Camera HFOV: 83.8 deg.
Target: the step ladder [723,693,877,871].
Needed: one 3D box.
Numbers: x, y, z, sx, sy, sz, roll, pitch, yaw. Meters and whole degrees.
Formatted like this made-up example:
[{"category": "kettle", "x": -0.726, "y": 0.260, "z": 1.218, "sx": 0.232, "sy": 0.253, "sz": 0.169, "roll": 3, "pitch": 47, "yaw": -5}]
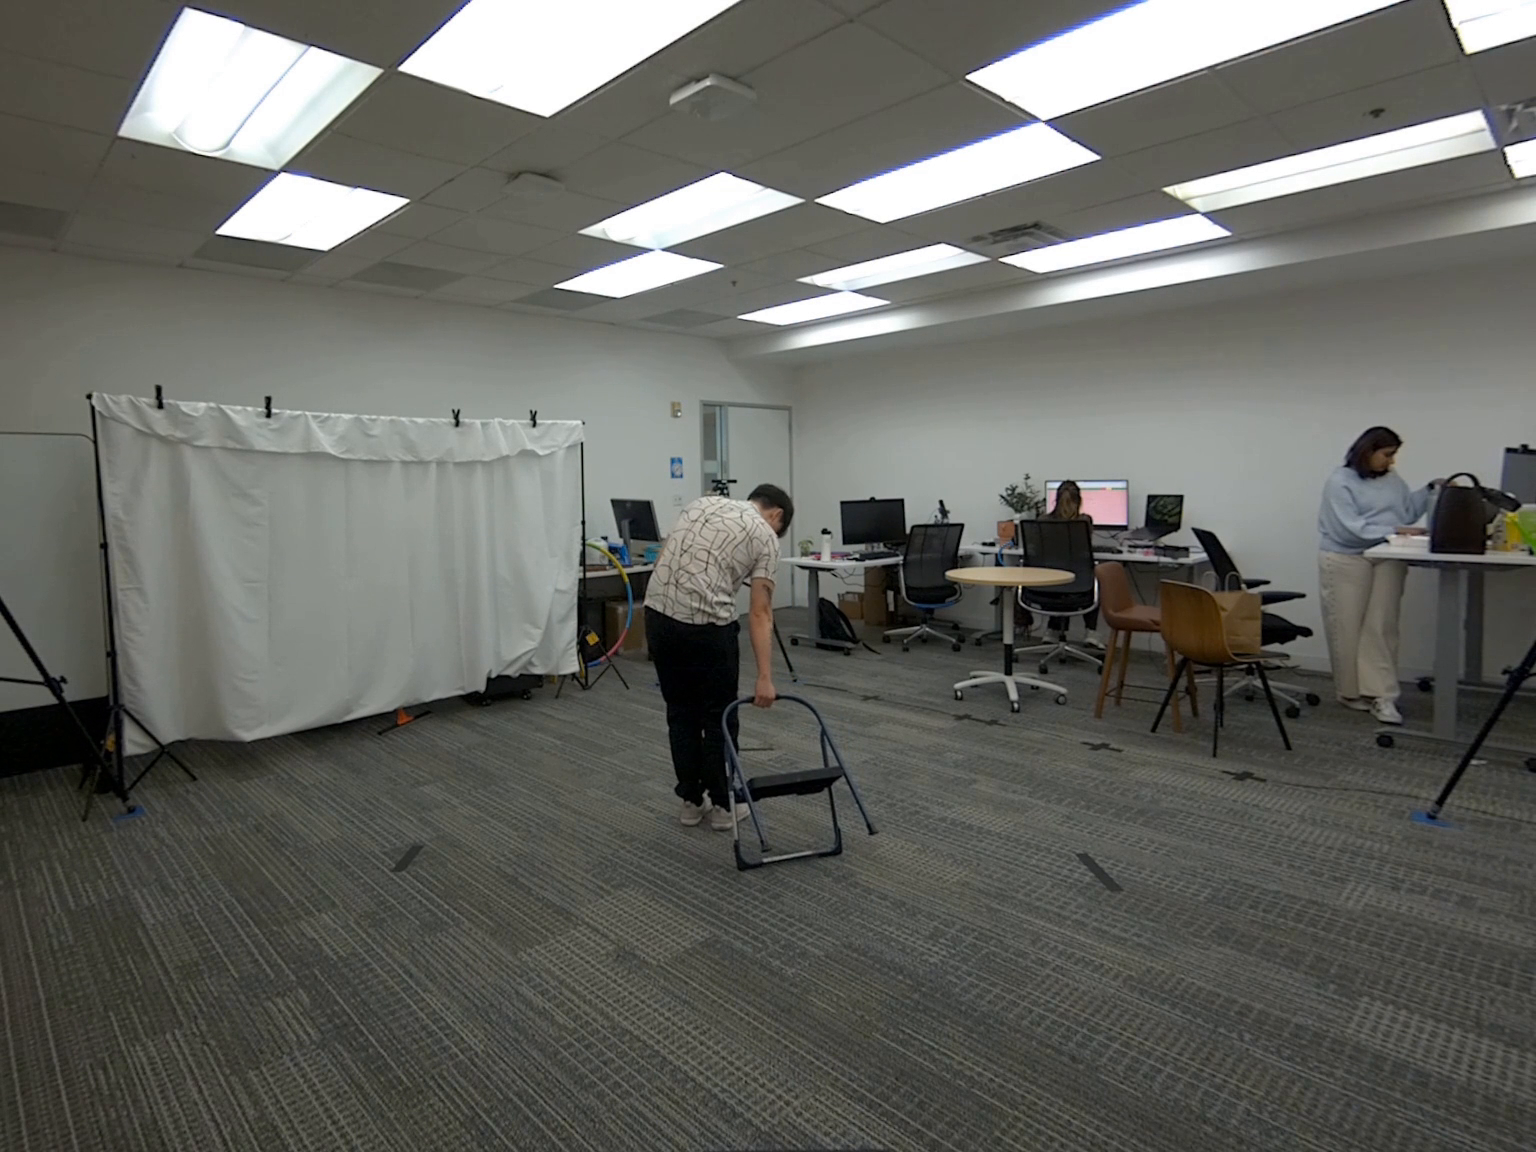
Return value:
[{"category": "step ladder", "x": 0.071, "y": 0.703, "z": 3.133, "sx": 0.423, "sy": 0.623, "sz": 0.346, "roll": -2, "pitch": -30, "yaw": -20}]
